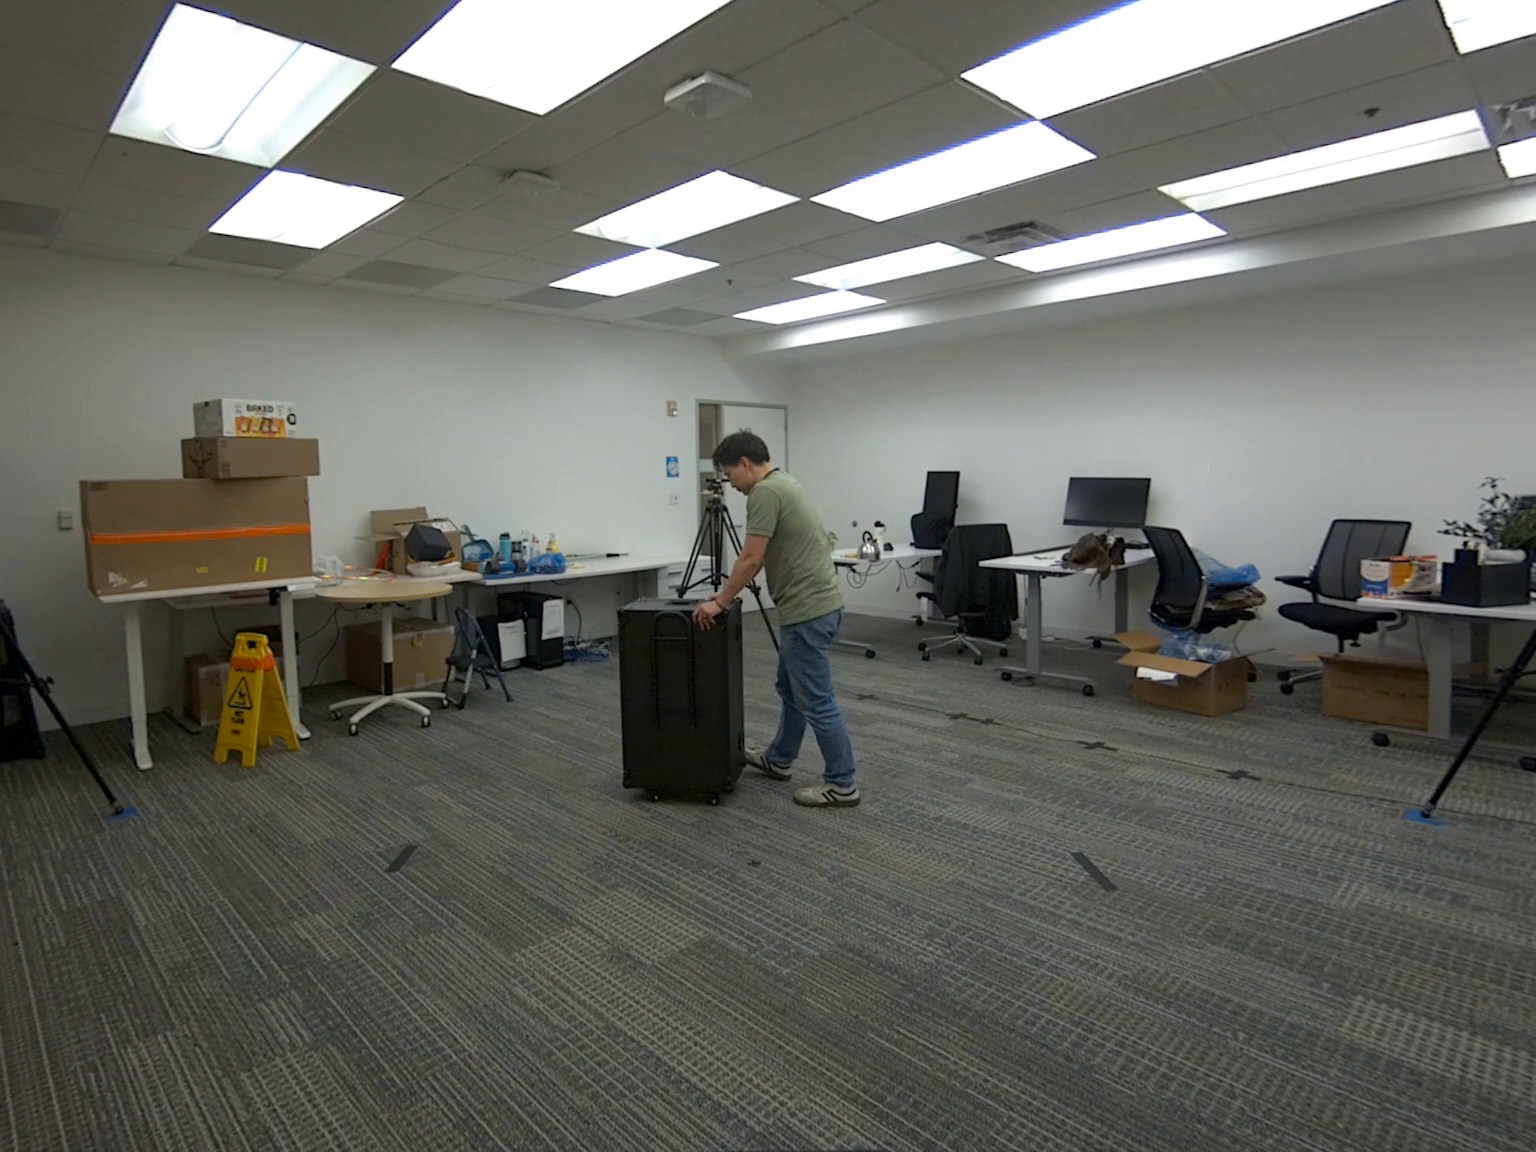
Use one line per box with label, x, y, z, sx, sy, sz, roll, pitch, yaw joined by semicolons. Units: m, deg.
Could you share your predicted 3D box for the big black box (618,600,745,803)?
big black box;-0.369;0.554;3.800;0.527;0.858;0.393;1;5;11
